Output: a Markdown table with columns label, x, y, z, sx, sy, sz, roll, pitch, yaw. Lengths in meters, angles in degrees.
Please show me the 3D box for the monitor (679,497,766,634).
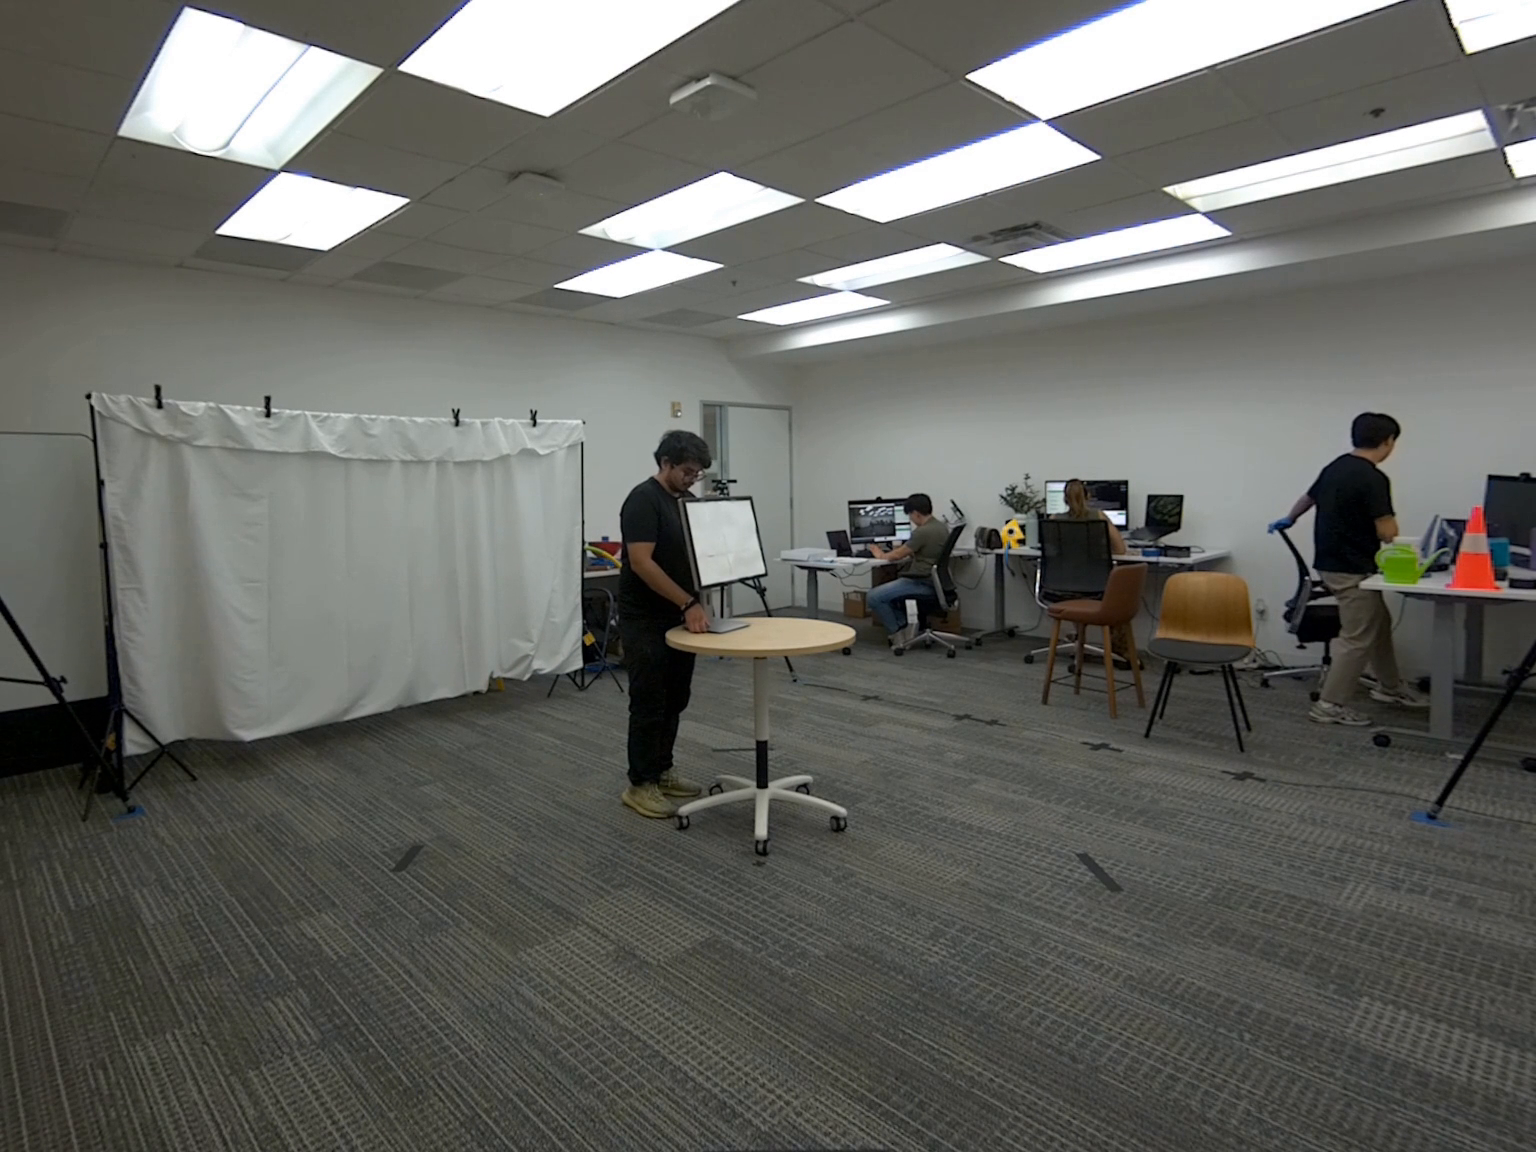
| label | x | y | z | sx | sy | sz | roll | pitch | yaw |
| --- | --- | --- | --- | --- | --- | --- | --- | --- | --- |
| monitor | -0.236 | -0.053 | 3.570 | 0.215 | 0.553 | 0.553 | -4 | 2 | 29 |
